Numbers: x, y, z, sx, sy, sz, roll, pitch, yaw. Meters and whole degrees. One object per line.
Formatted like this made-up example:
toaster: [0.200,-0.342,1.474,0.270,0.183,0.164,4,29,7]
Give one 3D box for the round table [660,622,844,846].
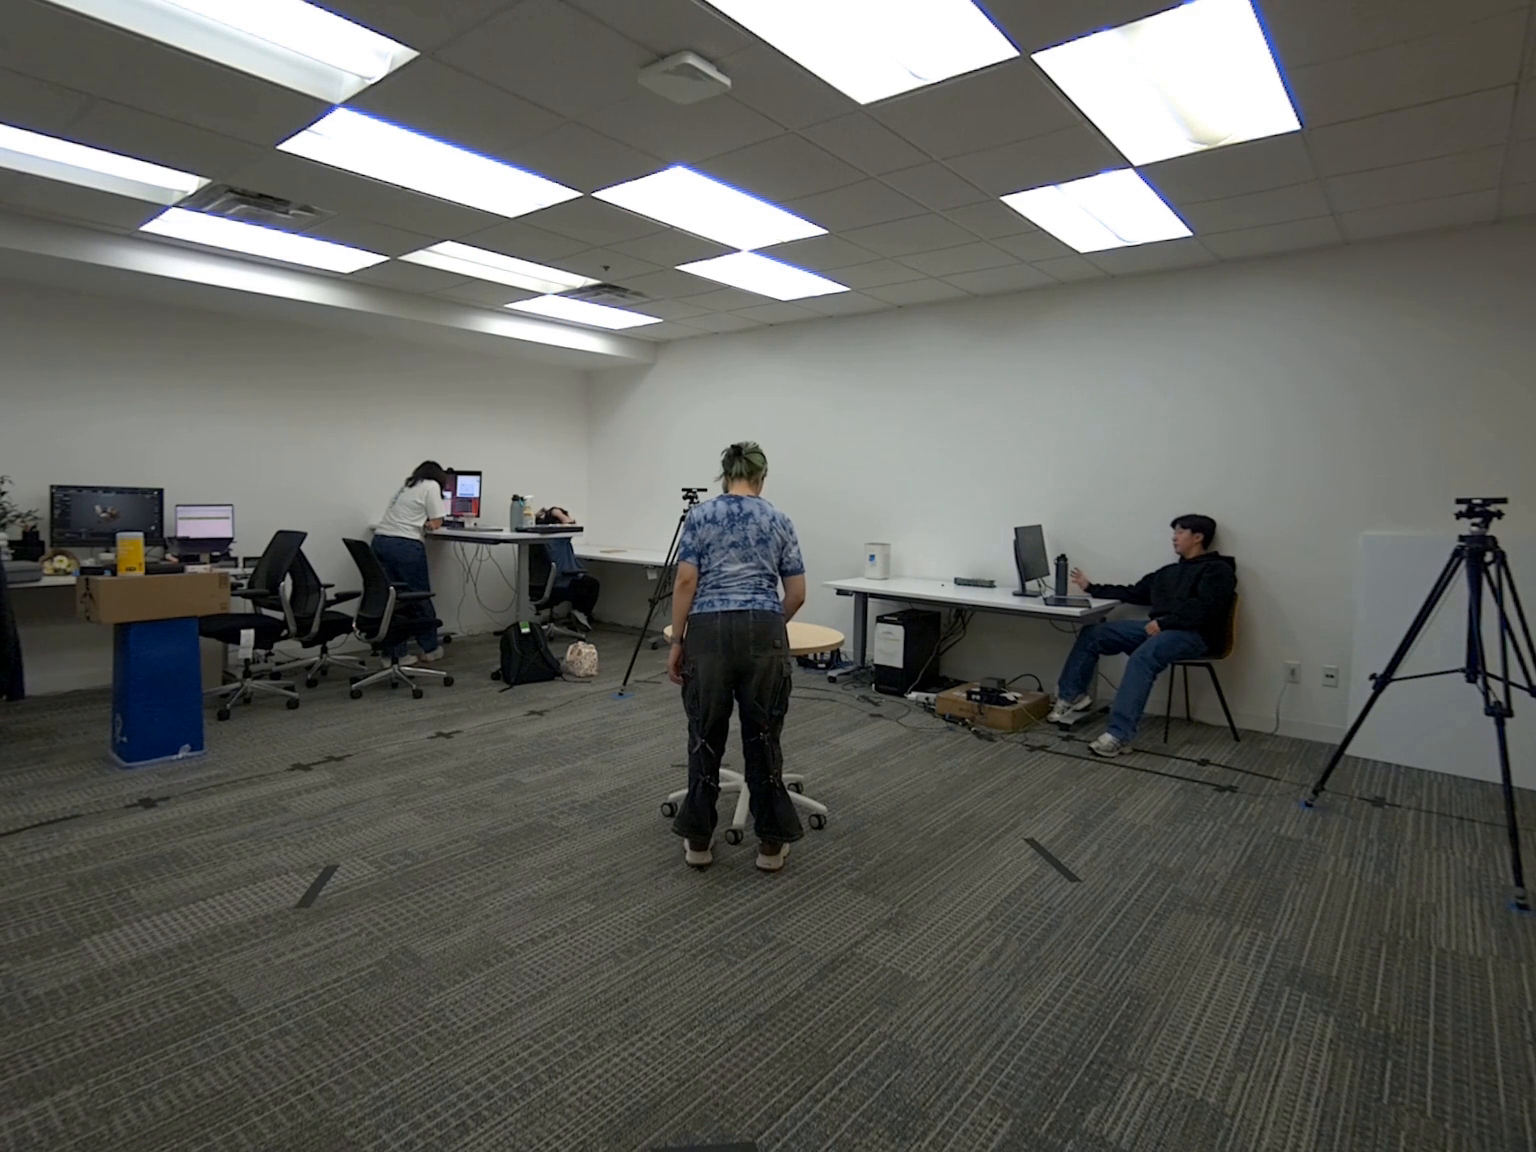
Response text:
round table: [-0.069,0.625,3.628,0.784,0.784,0.789,1,4,-2]
